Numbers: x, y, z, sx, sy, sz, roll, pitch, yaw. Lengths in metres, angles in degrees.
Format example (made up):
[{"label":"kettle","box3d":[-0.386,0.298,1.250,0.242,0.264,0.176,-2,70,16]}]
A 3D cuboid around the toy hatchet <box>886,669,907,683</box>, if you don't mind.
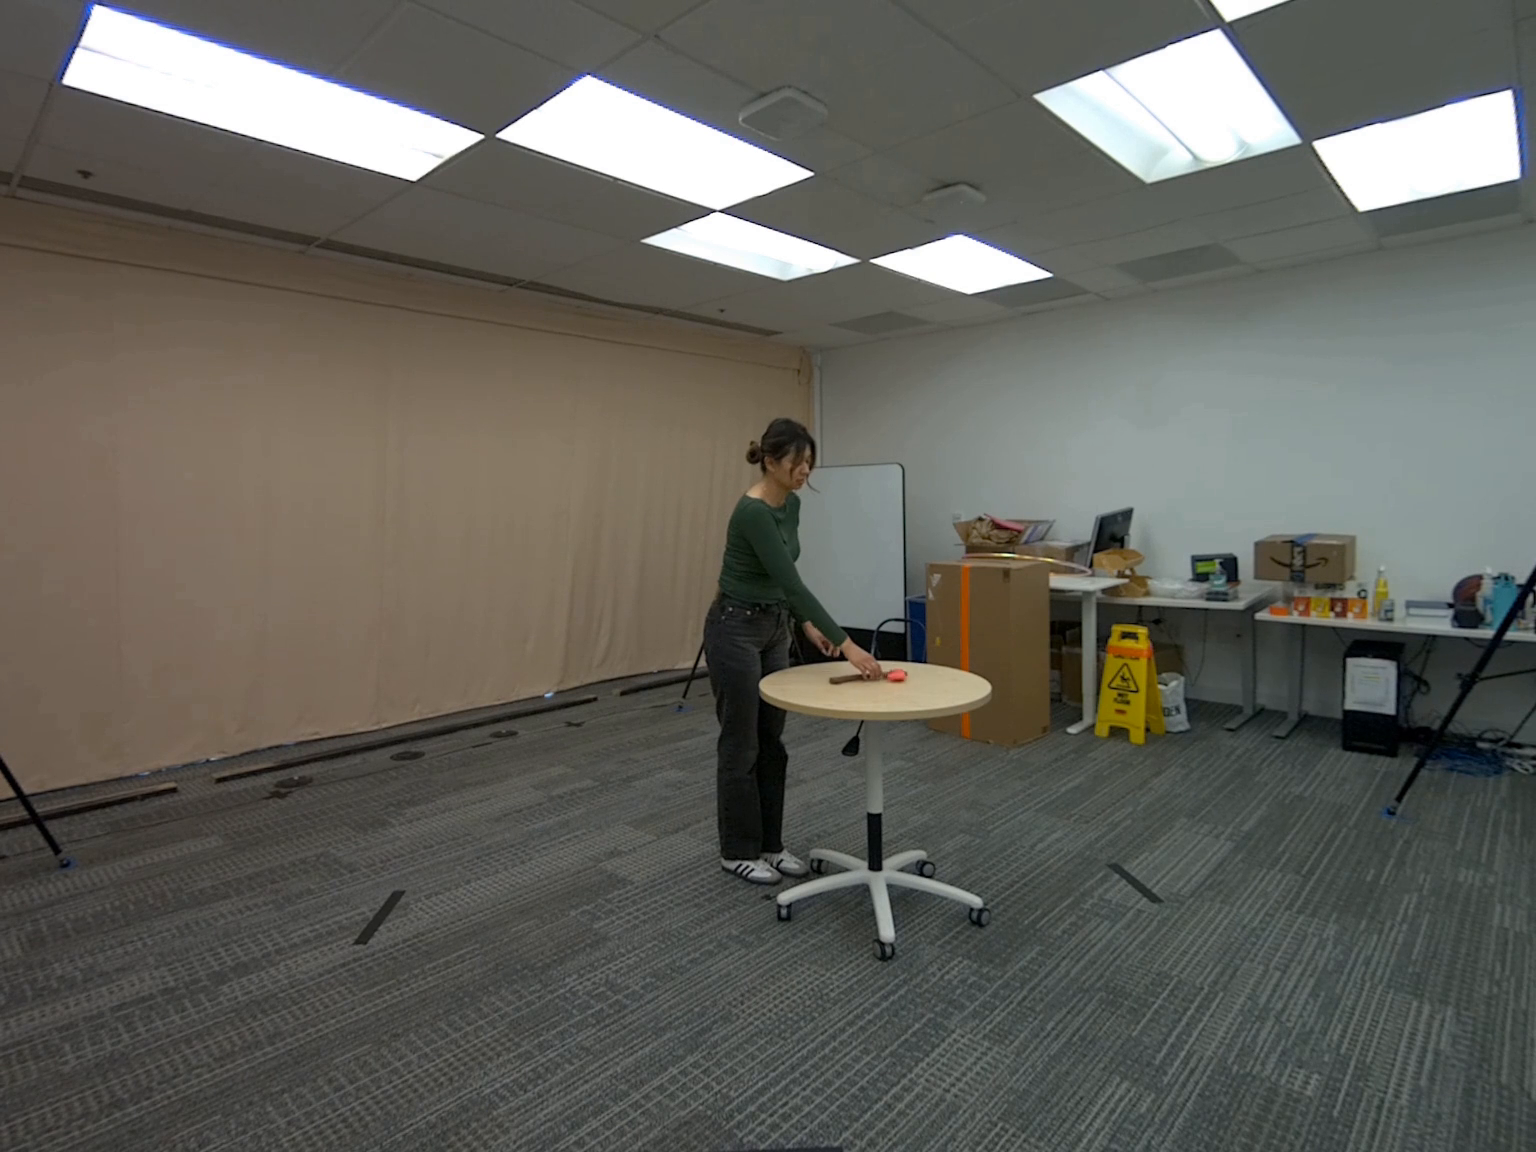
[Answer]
[{"label":"toy hatchet","box3d":[0.354,0.349,2.851,0.264,0.029,0.134,-5,5,-21]}]
